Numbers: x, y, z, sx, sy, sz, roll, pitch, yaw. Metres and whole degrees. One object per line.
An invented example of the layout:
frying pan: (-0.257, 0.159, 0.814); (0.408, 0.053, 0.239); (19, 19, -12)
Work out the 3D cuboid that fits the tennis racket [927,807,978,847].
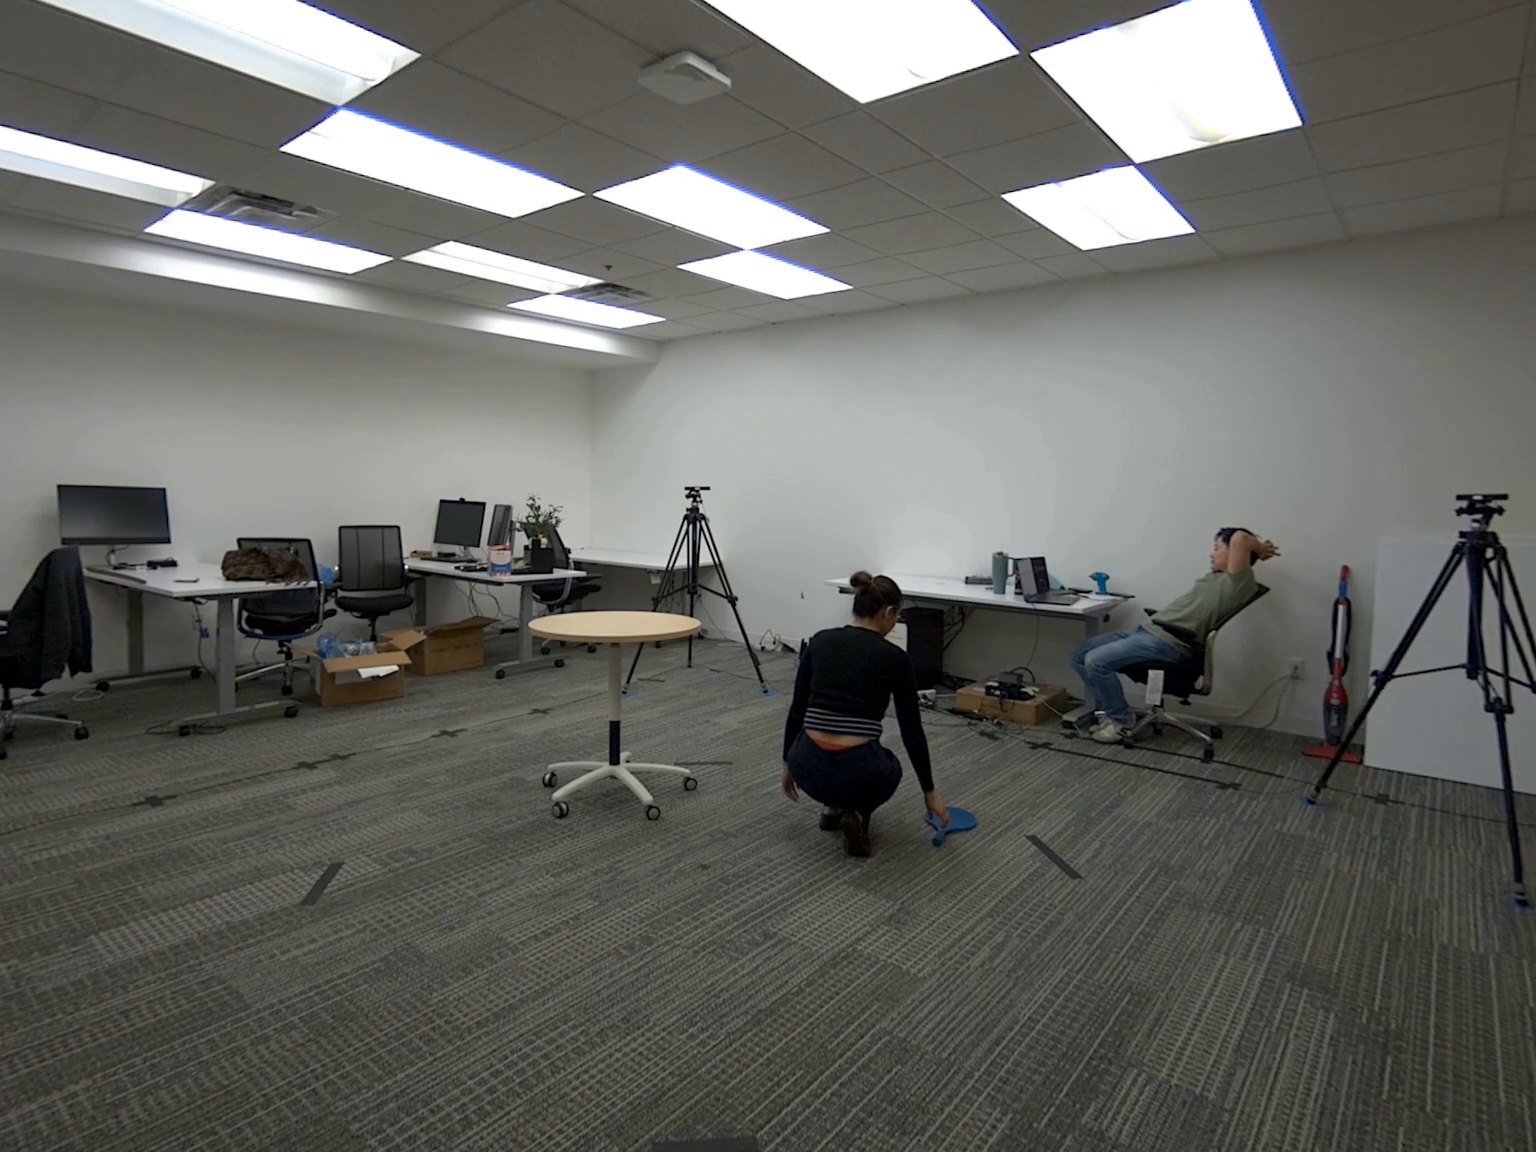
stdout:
tennis racket: (0.737, 1.031, 3.531); (0.219, 0.031, 0.424); (5, 6, 22)
